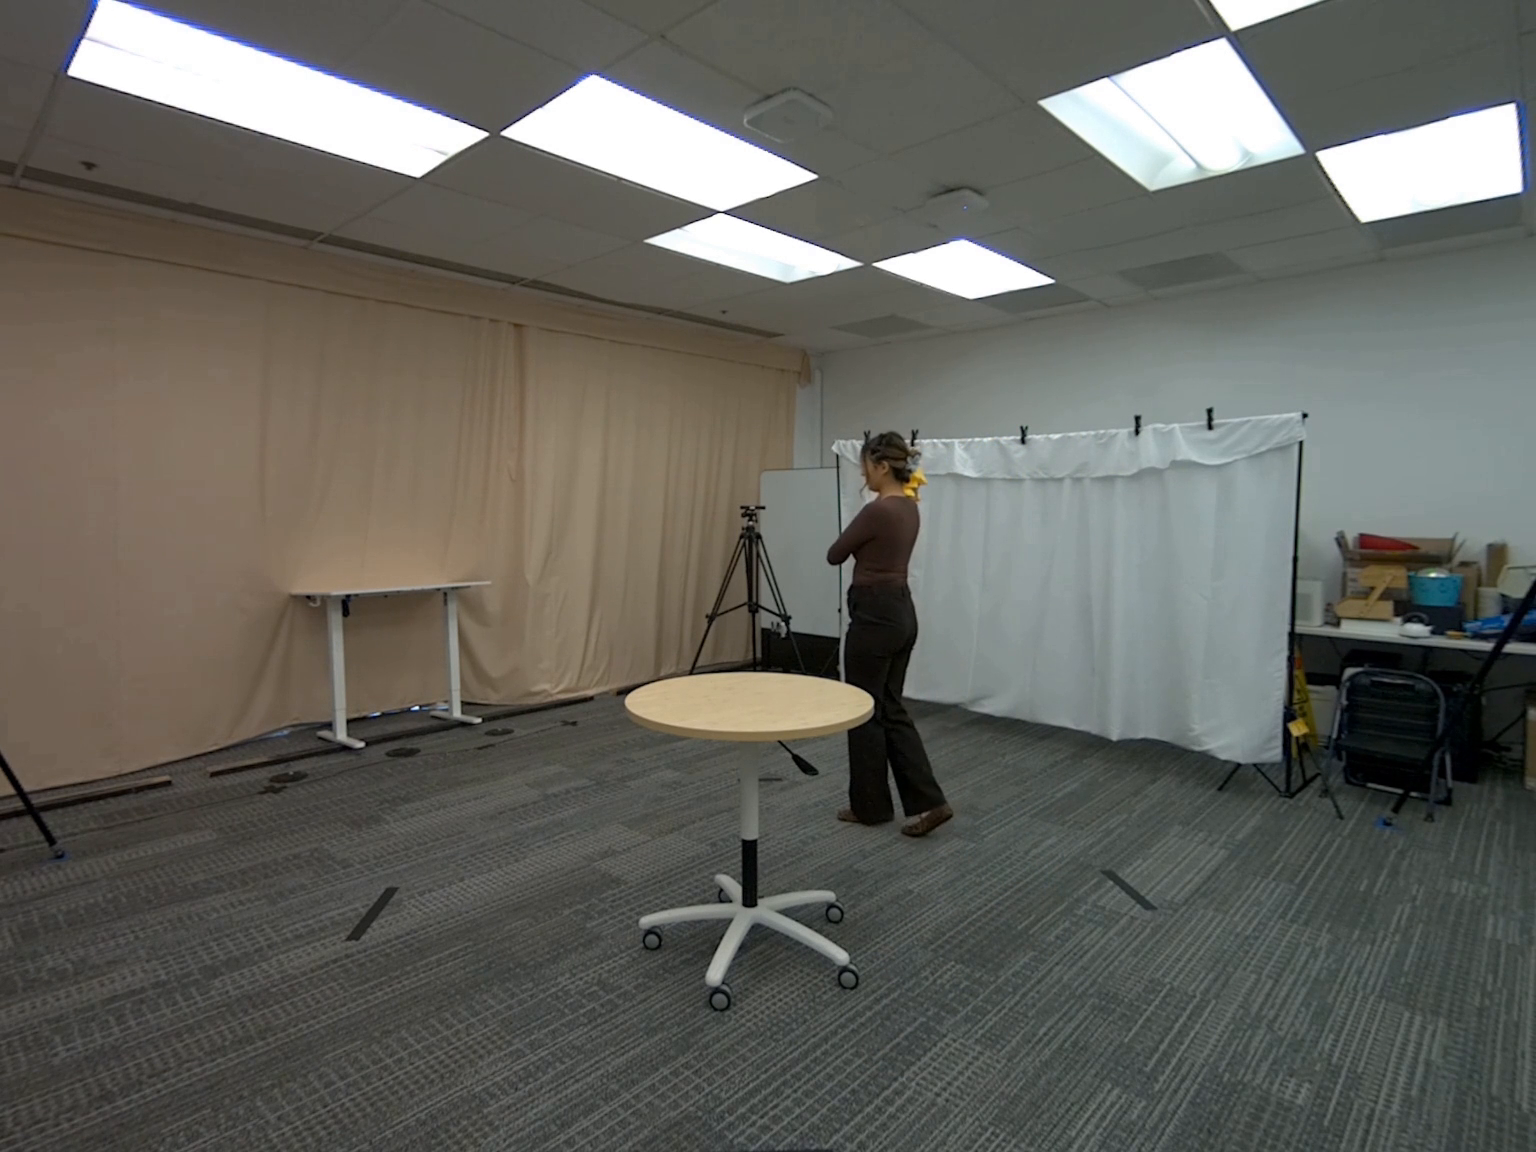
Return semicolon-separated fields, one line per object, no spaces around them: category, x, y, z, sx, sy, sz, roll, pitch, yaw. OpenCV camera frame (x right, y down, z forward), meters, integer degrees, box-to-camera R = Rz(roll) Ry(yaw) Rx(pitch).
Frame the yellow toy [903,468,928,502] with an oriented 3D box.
yellow toy;0.598;-0.453;3.739;0.198;0.232;0.198;-4;-8;27
